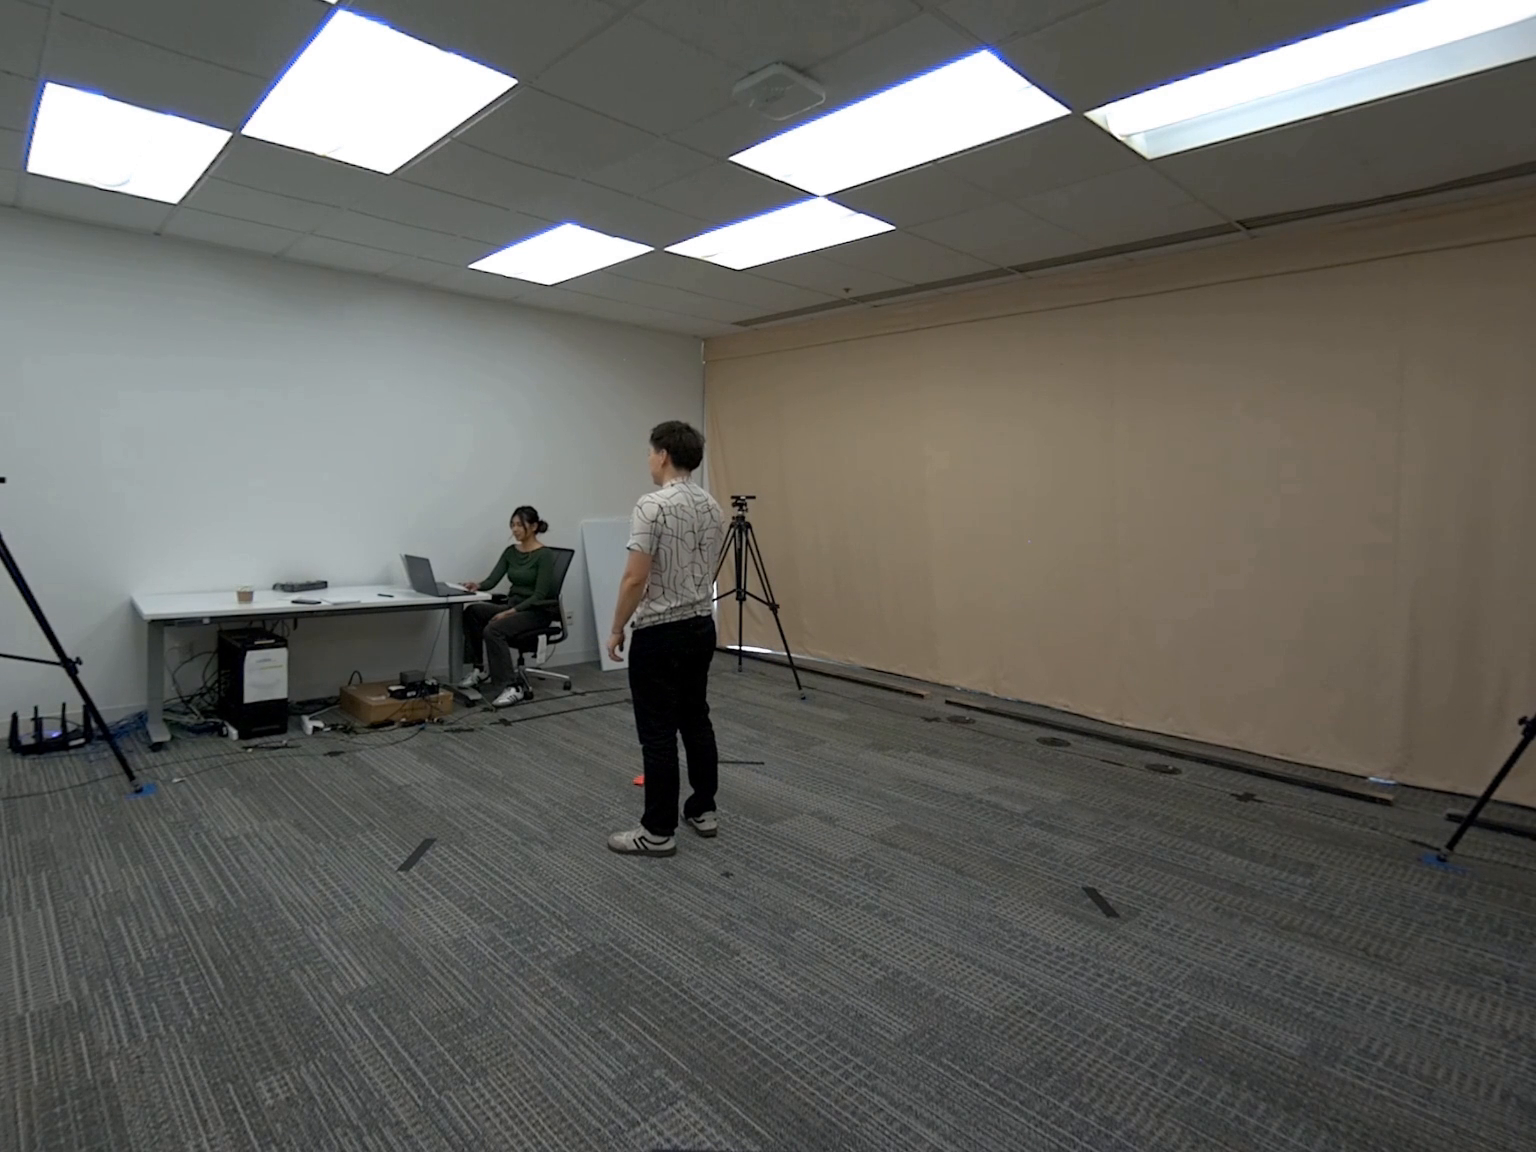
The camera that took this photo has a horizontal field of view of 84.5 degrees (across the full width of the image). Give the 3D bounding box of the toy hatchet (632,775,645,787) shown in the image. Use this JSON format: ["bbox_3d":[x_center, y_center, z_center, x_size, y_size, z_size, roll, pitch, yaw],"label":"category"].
[{"bbox_3d":[-0.563,1.001,4.016,0.128,0.029,0.276,1,6,-30],"label":"toy hatchet"}]
